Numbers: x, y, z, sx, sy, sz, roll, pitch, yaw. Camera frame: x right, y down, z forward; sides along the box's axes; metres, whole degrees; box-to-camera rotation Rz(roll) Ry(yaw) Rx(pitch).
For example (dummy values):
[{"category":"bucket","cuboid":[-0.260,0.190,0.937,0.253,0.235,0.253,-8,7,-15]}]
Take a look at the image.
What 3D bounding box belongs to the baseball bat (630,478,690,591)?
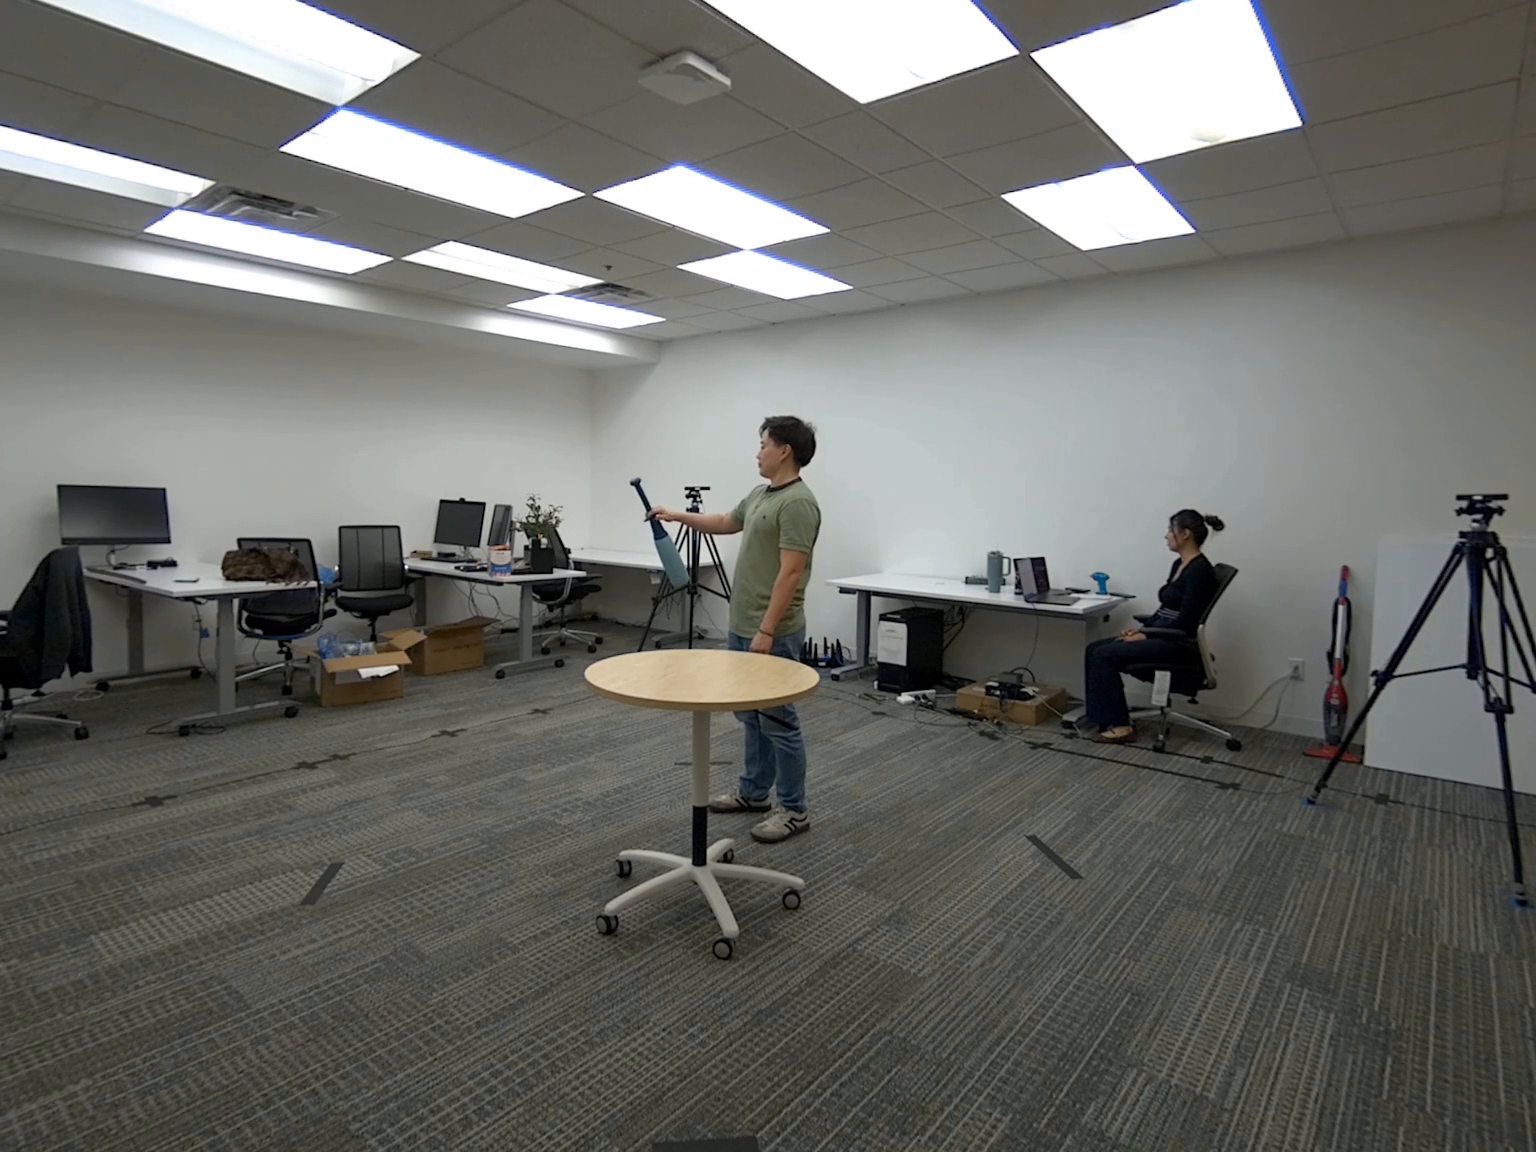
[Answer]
[{"category":"baseball bat","cuboid":[-0.503,-0.197,3.745,0.089,0.529,0.091,-20,21,7]}]
